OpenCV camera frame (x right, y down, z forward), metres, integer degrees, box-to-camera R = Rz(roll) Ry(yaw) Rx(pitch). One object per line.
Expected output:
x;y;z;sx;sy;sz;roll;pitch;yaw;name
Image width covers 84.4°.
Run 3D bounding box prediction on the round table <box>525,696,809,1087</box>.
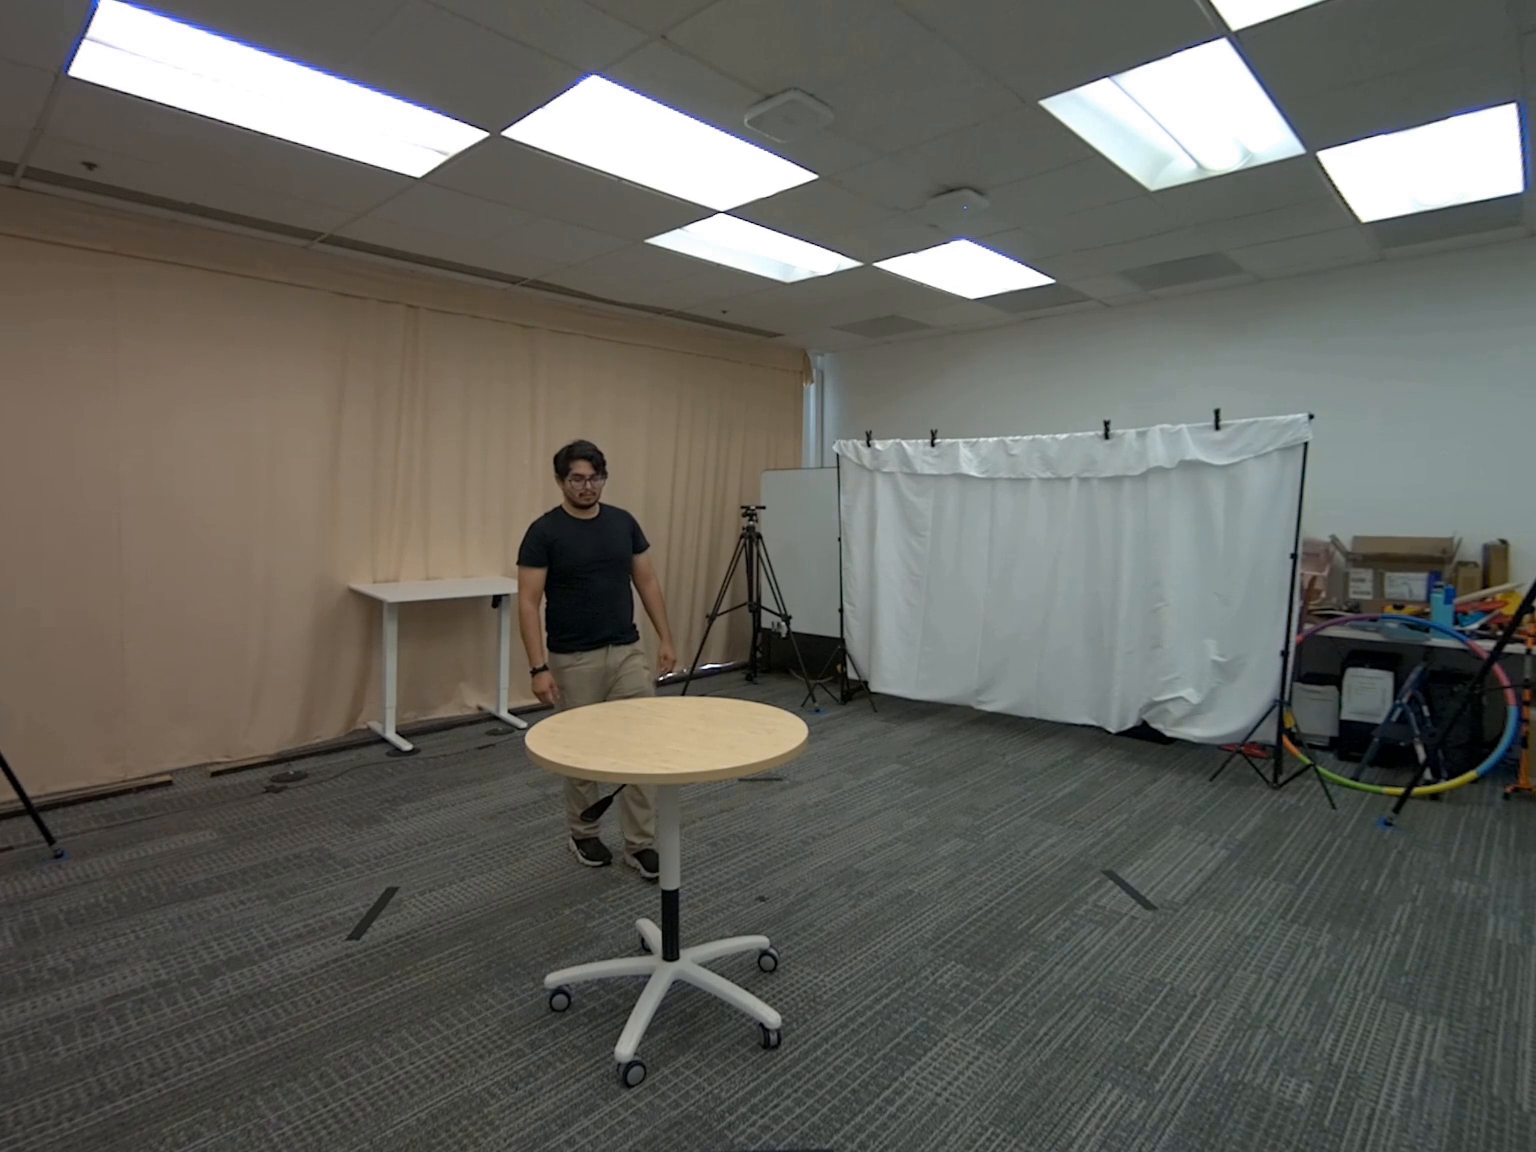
-0.272;0.810;2.312;0.784;0.785;0.788;-1;4;-2;round table
